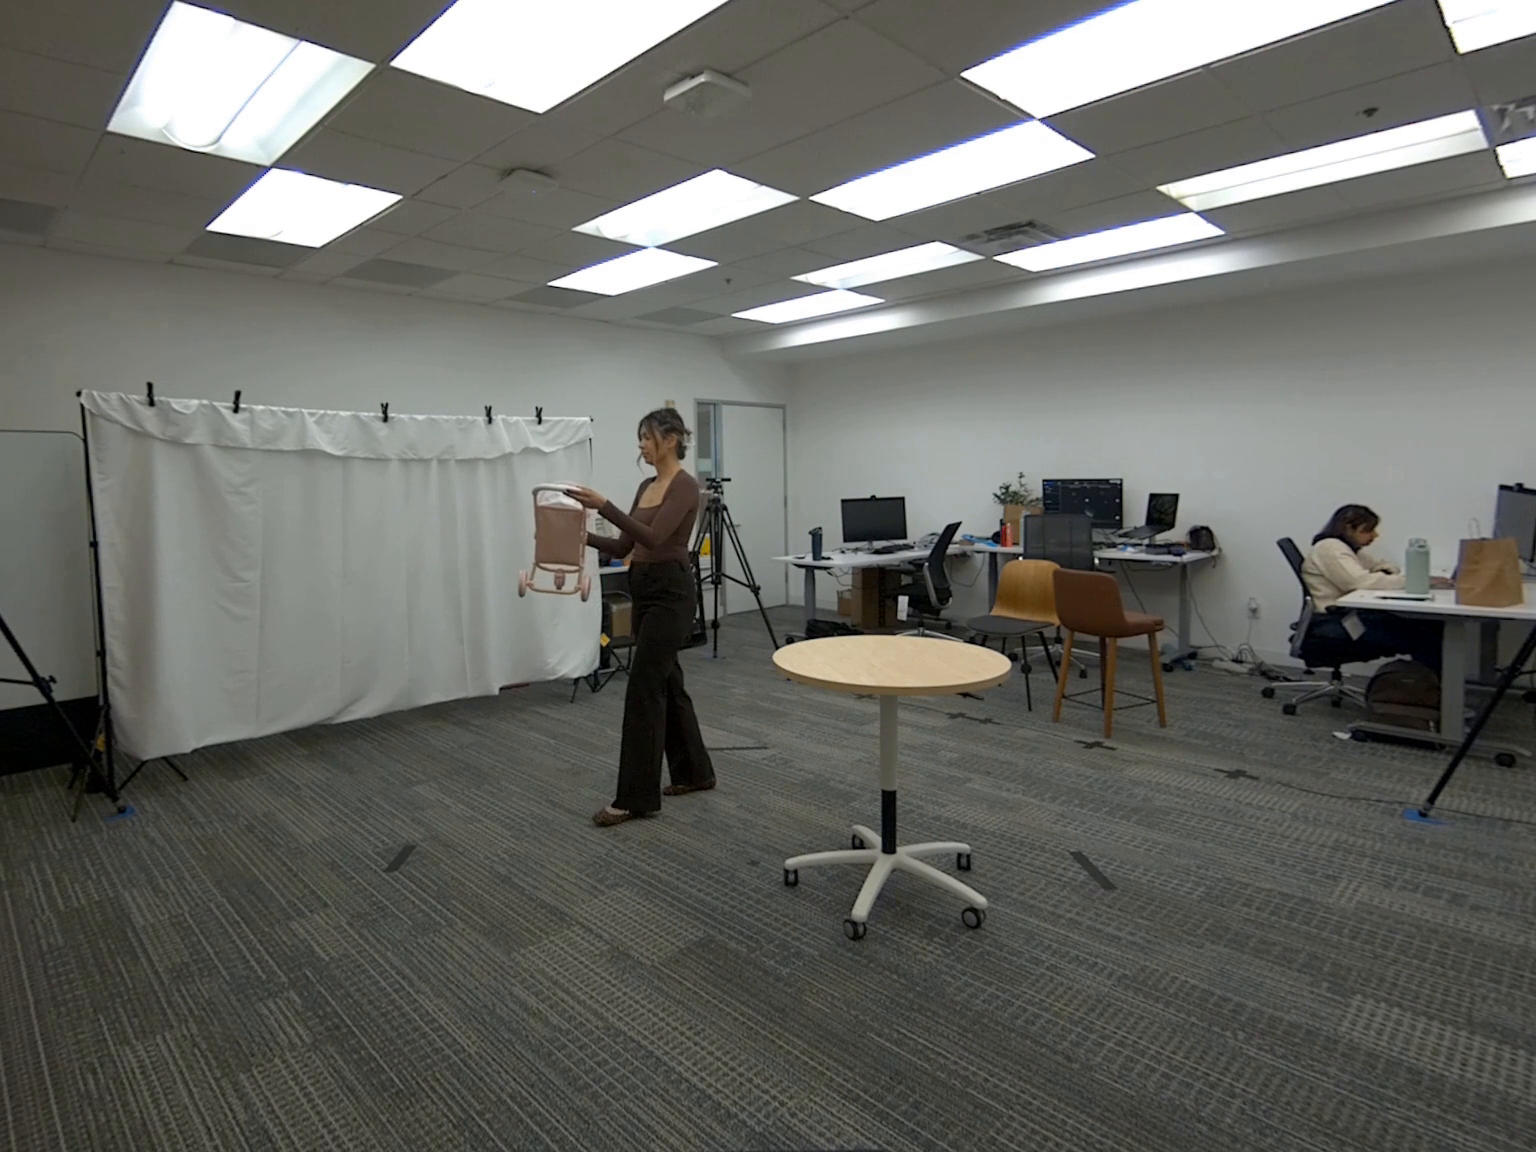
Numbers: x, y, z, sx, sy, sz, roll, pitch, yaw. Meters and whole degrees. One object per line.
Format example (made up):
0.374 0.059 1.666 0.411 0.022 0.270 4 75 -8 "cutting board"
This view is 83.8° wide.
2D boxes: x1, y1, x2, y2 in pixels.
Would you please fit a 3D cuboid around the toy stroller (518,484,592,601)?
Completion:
-0.833 -0.146 3.441 0.280 0.528 0.347 6 18 -5 "toy stroller"
